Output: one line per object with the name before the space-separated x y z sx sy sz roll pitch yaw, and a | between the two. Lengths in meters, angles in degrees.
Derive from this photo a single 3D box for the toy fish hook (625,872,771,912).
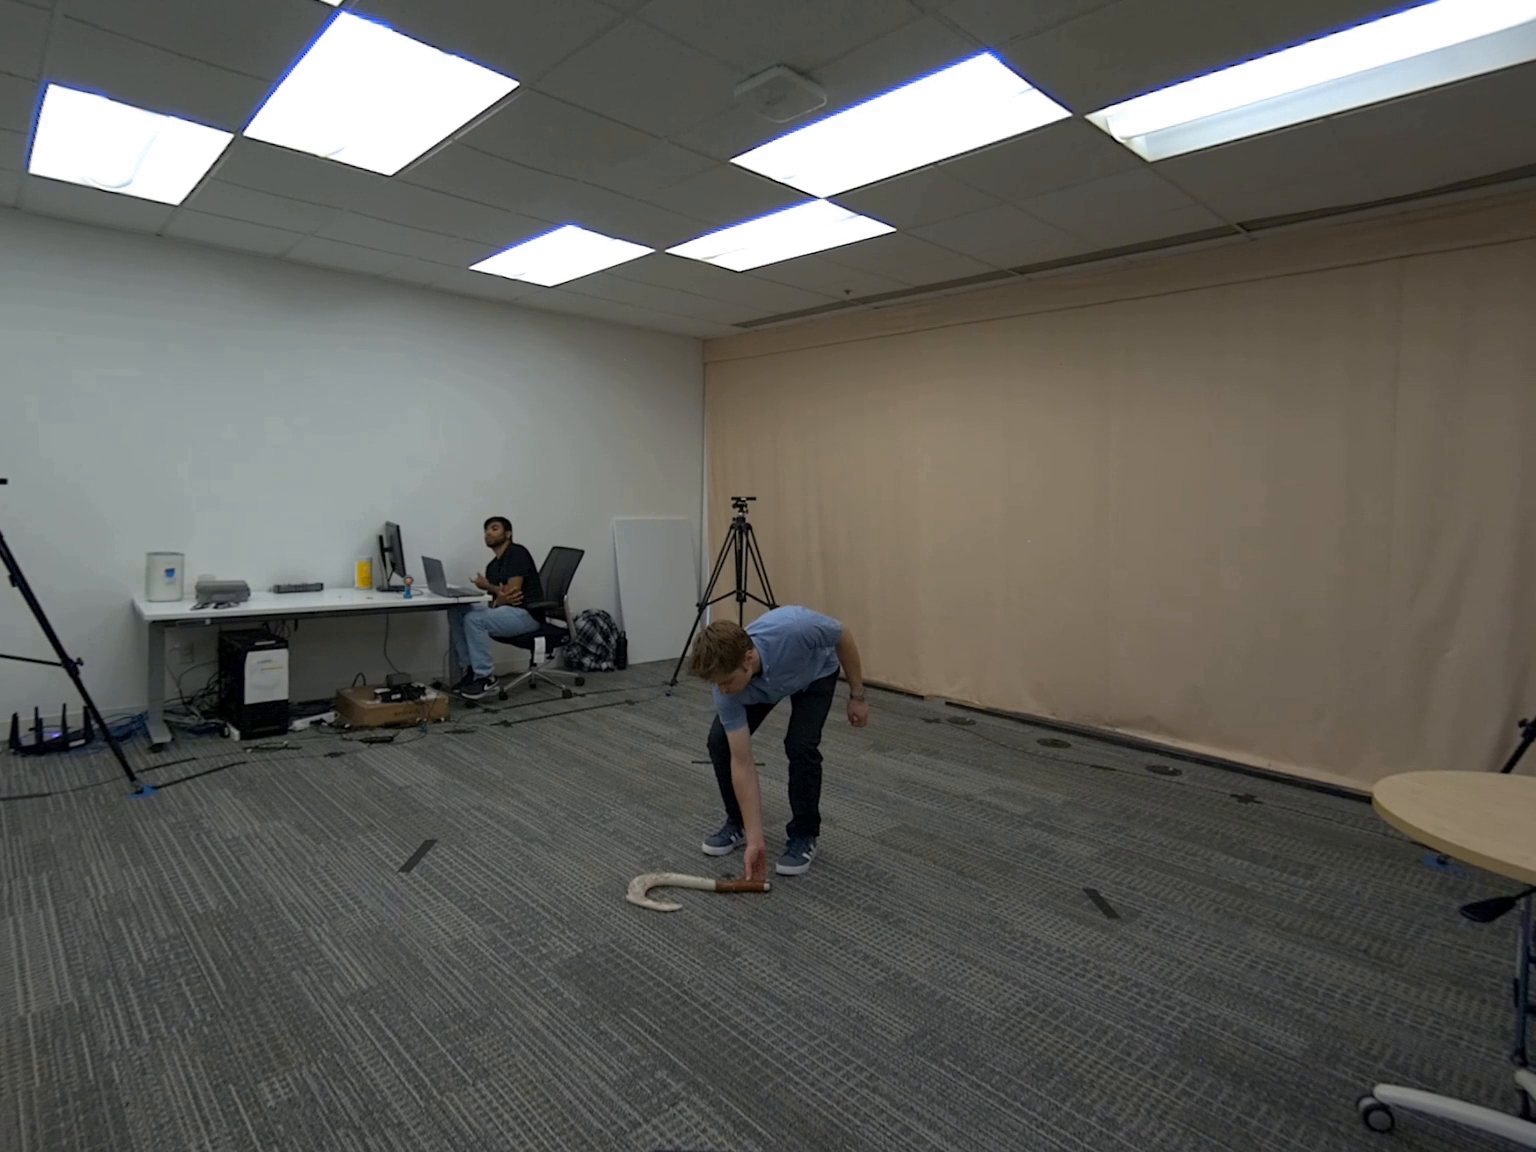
toy fish hook | -0.242 1.104 2.932 0.506 0.048 0.226 1 13 0
